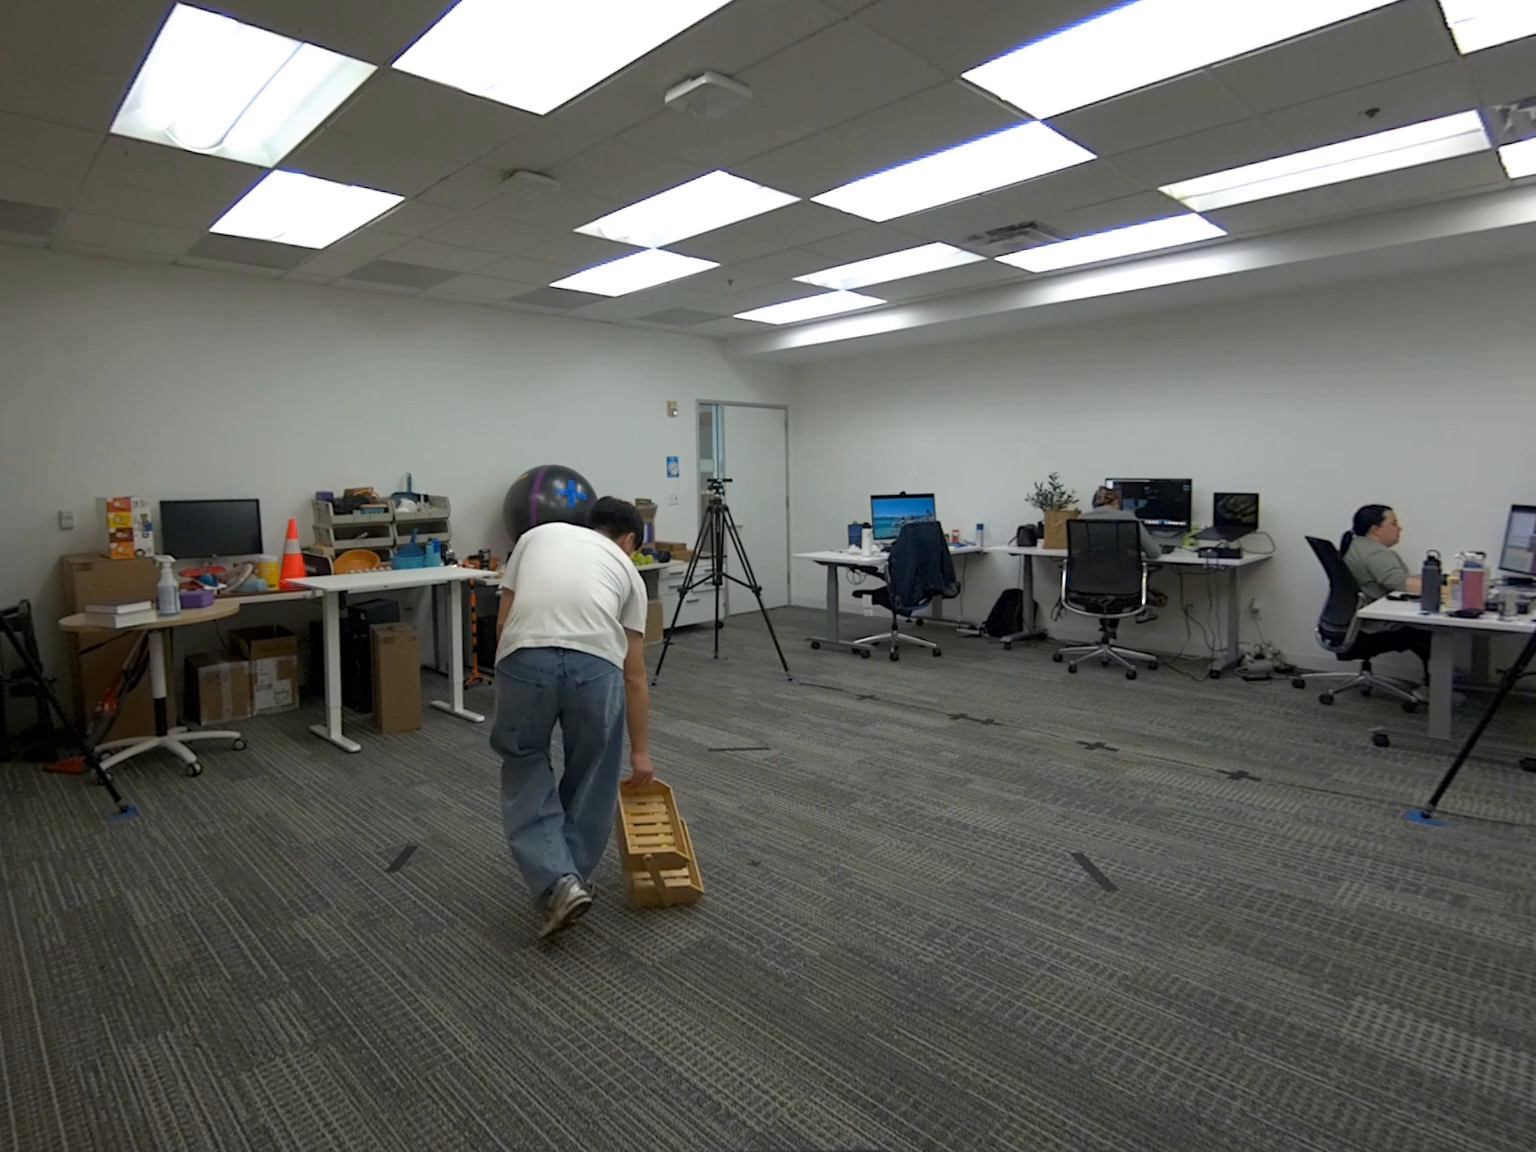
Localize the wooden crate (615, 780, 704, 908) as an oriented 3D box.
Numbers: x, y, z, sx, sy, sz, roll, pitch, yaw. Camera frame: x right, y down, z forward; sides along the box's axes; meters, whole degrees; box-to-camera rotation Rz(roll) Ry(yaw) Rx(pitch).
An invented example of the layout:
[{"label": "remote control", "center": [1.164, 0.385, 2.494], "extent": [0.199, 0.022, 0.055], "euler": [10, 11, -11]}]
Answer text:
[{"label": "wooden crate", "center": [-0.360, 0.873, 2.850], "extent": [0.296, 0.269, 0.336], "euler": [4, 32, -22]}]
